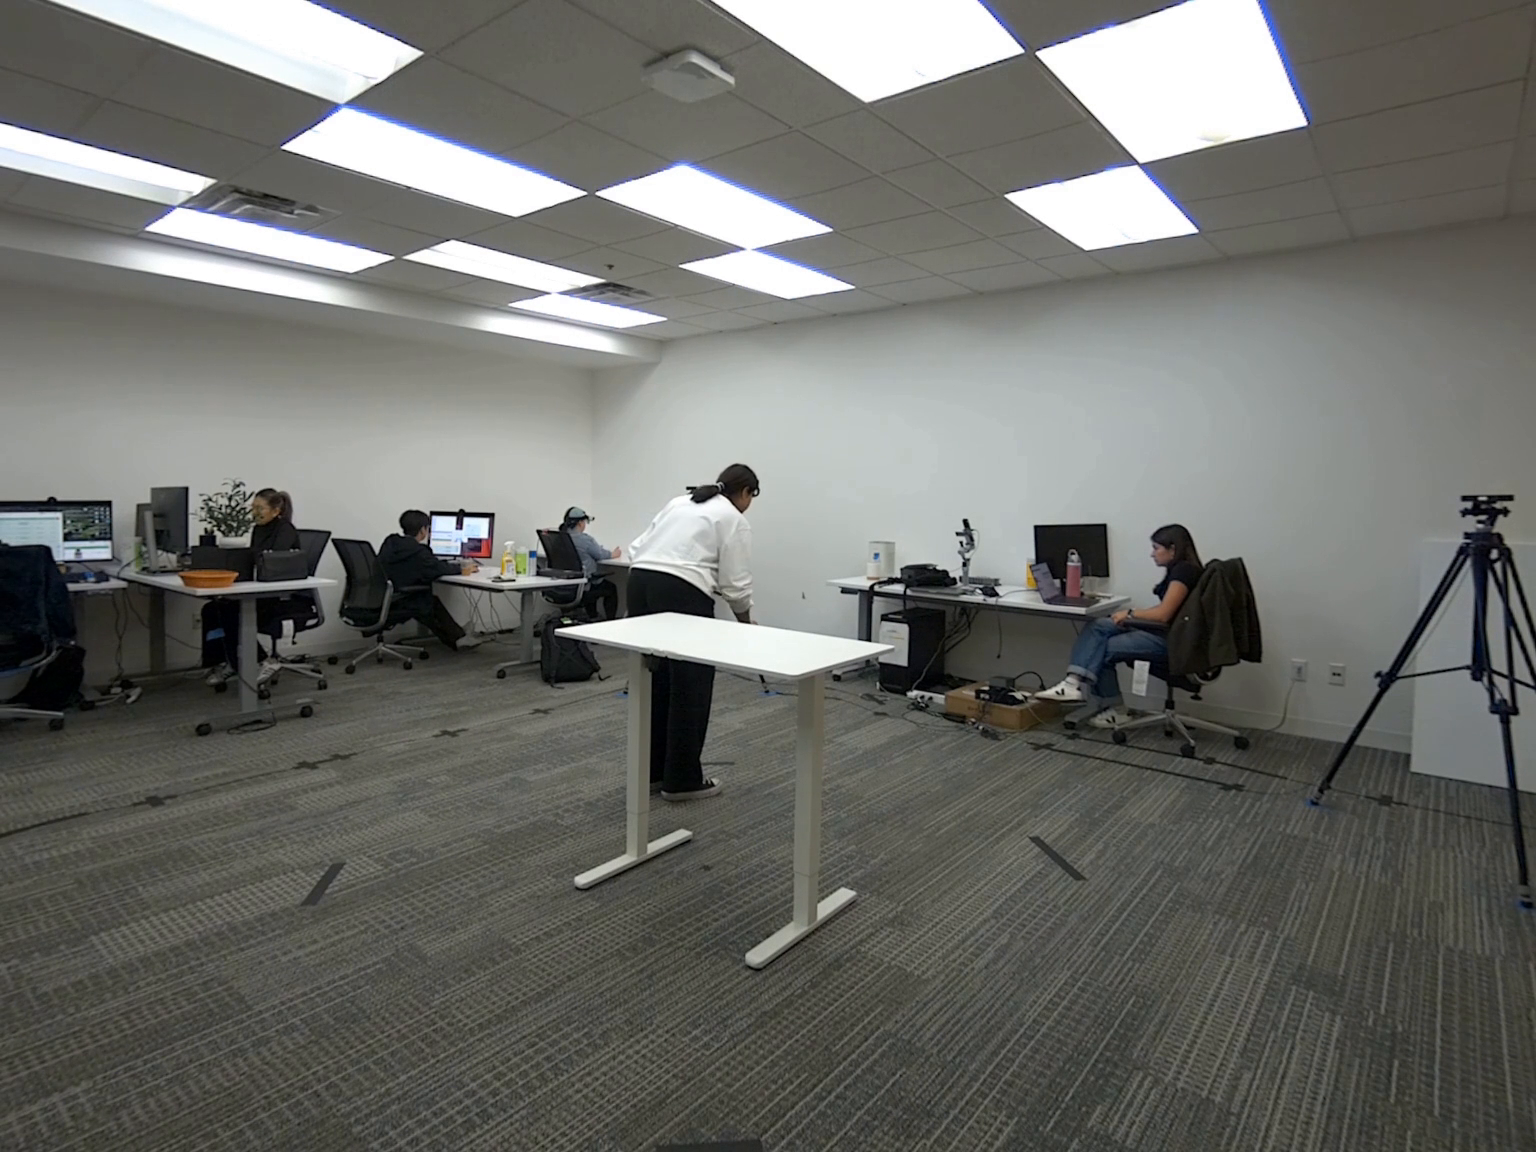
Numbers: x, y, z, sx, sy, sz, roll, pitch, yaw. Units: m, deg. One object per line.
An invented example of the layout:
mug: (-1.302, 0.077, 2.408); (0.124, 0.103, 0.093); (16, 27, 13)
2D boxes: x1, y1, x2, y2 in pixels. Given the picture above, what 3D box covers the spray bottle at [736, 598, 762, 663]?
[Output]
spray bottle: (-0.095, 0.263, 4.080); (0.085, 0.301, 0.091); (7, -16, -22)
